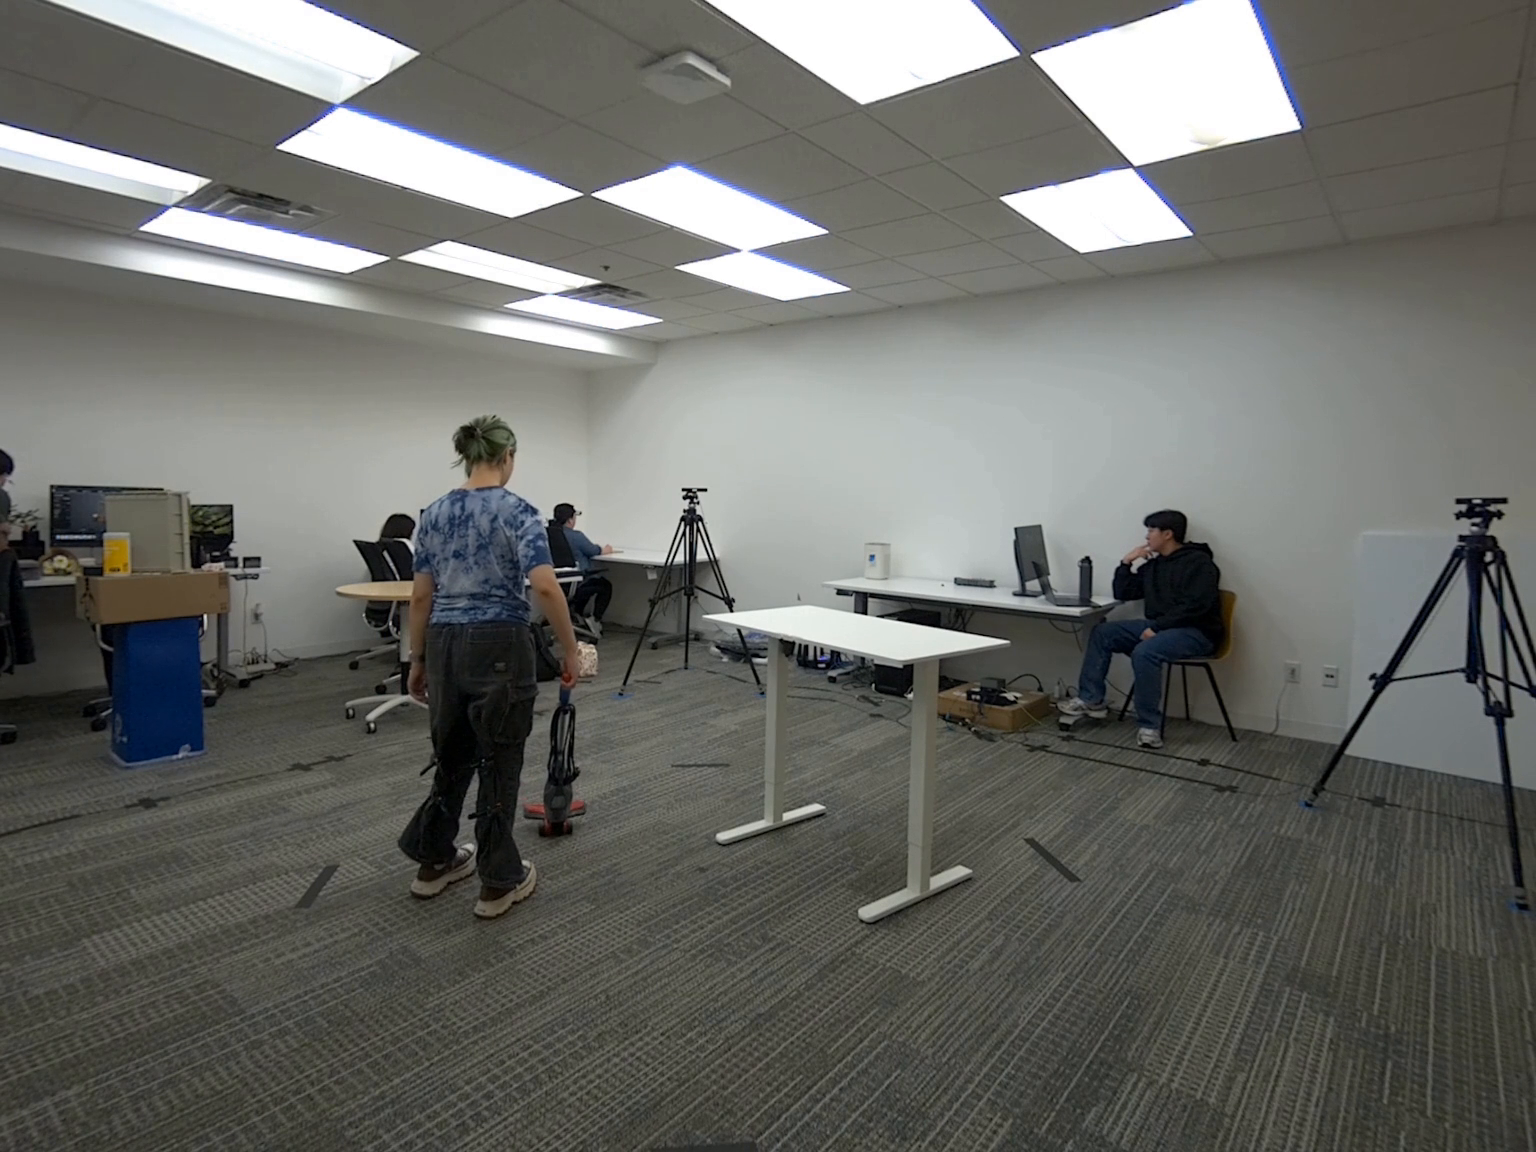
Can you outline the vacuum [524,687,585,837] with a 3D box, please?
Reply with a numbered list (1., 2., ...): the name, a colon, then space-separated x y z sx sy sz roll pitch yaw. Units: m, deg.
1. vacuum: -0.774 0.677 3.088 0.249 0.149 1.030 0 -39 -16
